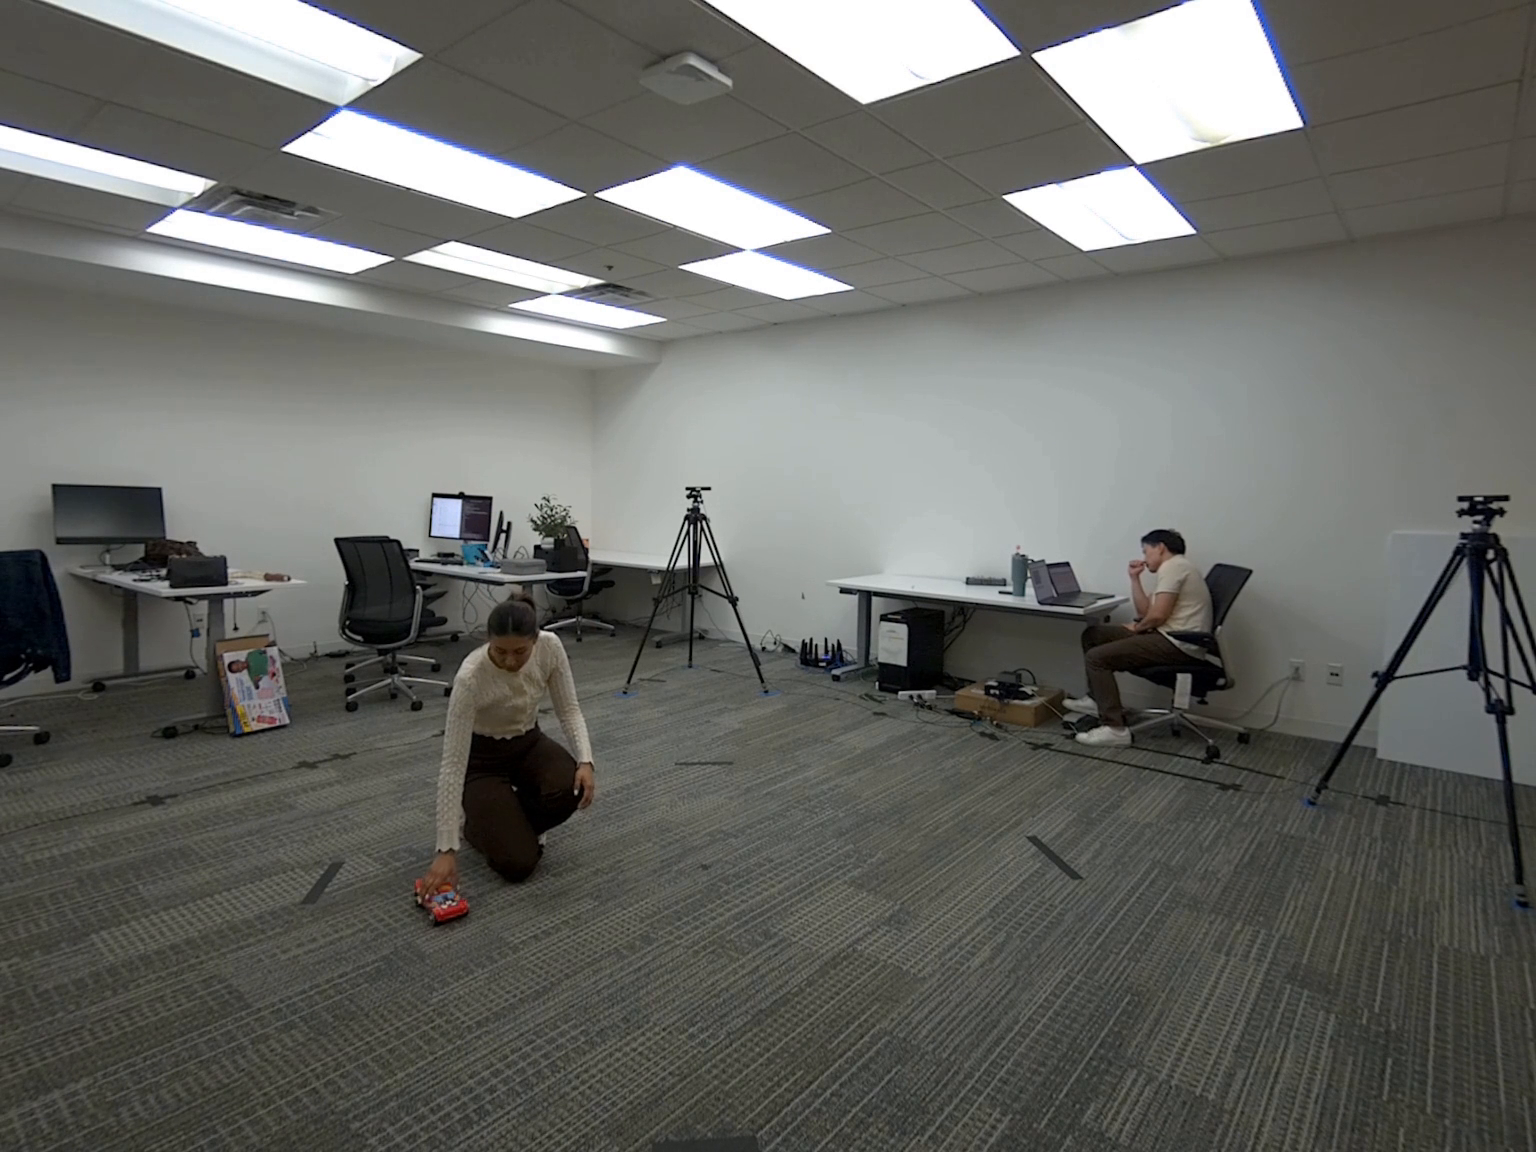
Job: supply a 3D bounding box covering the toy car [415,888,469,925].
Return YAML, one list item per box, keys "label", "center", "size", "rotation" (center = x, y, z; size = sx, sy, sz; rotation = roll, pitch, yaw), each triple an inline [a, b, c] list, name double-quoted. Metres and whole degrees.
- label: "toy car"
  center: [-1.094, 1.057, 2.785]
  size: [0.126, 0.082, 0.265]
  rotation: [-4, 17, -39]
